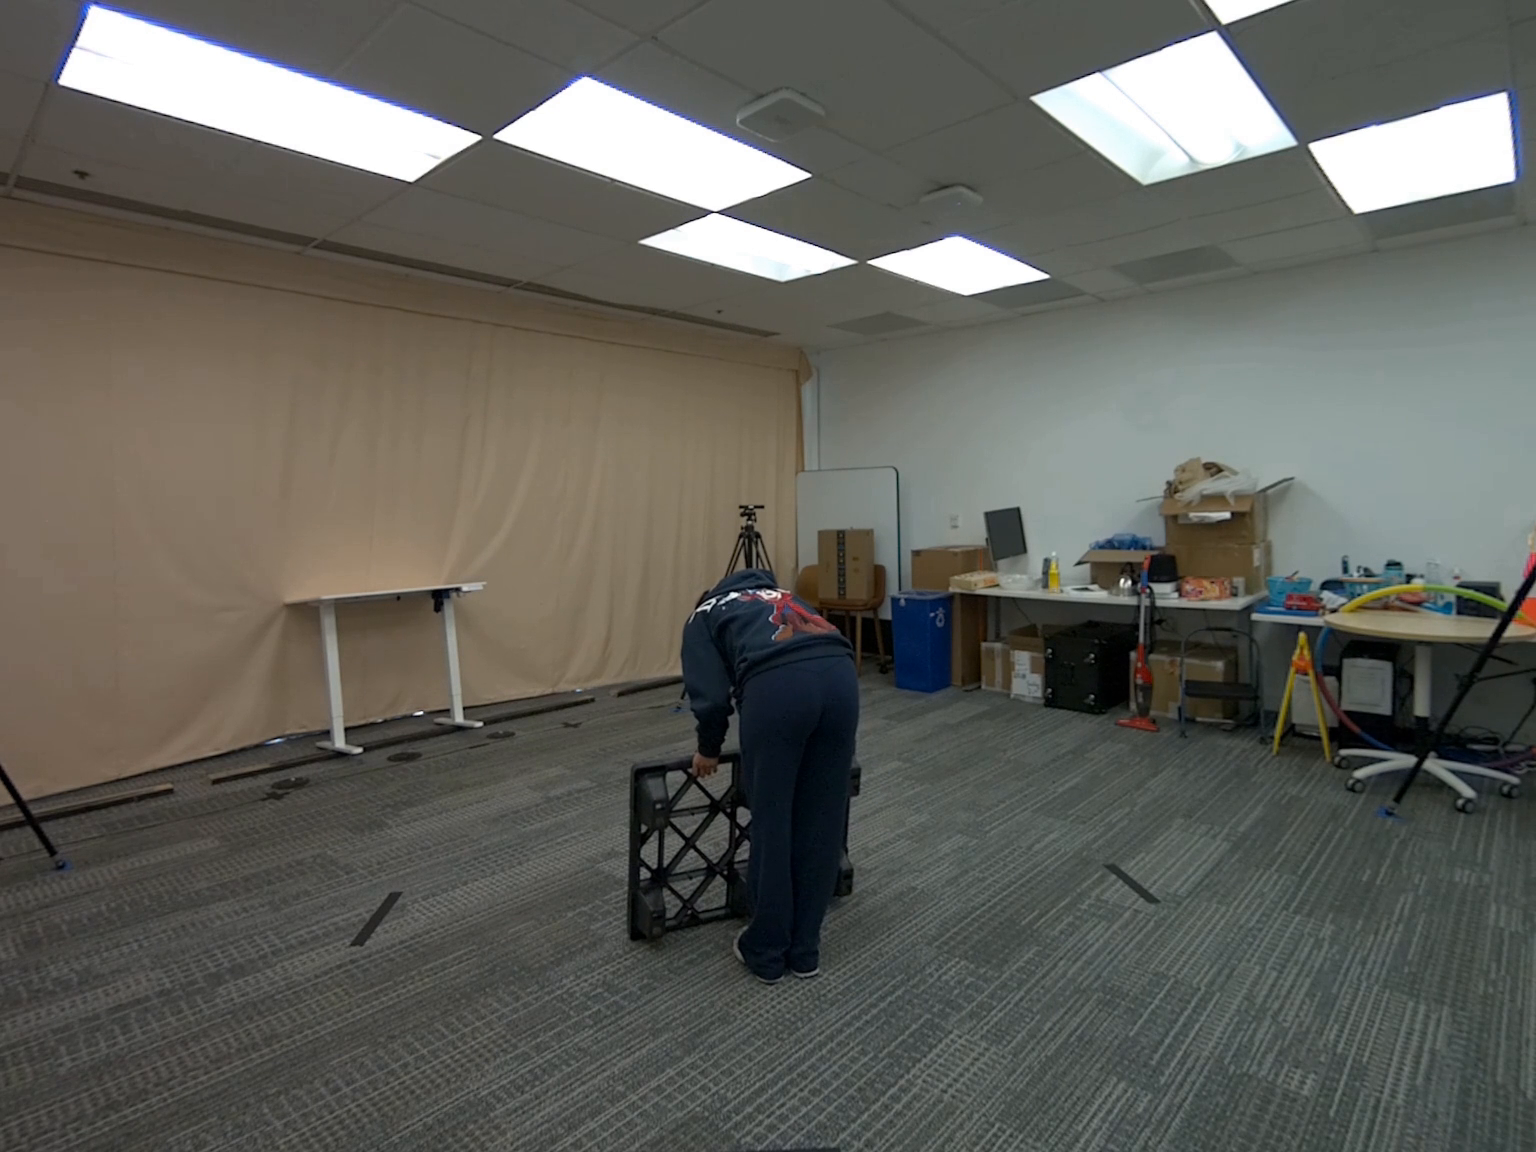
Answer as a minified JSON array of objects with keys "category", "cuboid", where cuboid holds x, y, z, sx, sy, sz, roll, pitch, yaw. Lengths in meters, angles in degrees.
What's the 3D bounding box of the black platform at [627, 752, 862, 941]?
[{"category":"black platform","cuboid":[-0.059,0.873,2.770,0.788,0.601,0.147,-3,13,-22]}]
